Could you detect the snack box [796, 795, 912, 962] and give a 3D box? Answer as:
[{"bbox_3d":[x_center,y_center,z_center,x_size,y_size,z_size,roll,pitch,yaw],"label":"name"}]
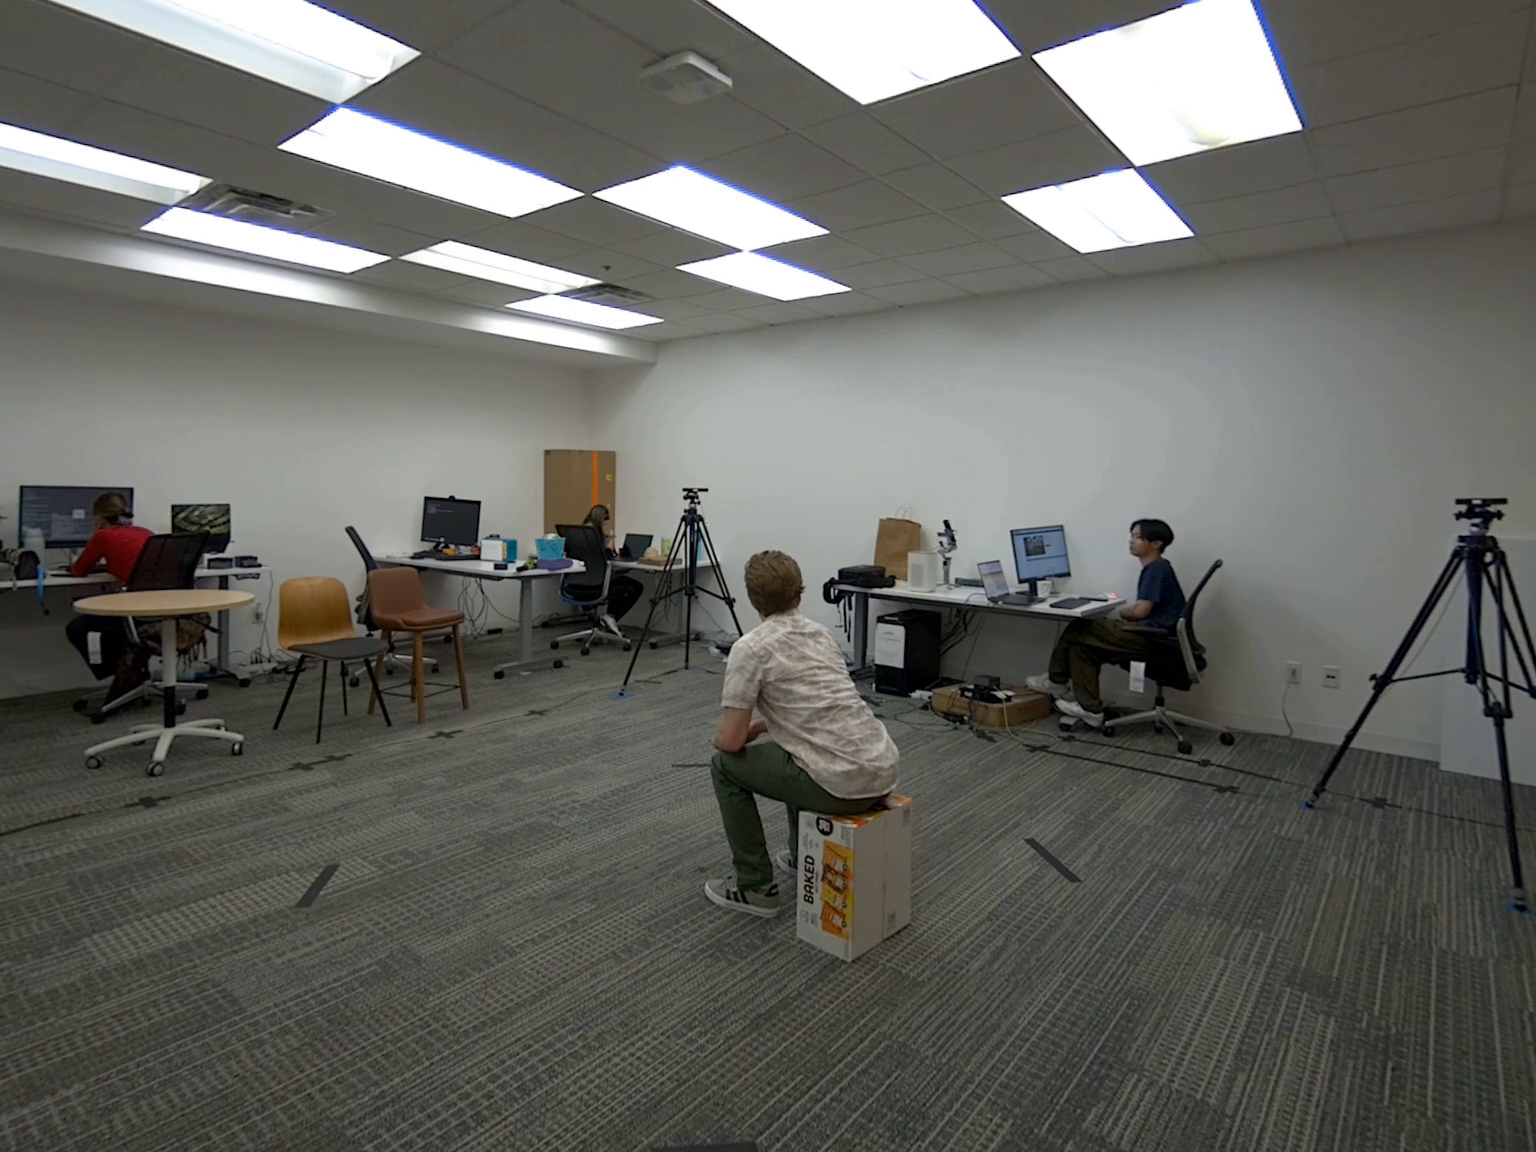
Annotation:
[{"bbox_3d":[0.276,0.922,2.689,0.212,0.404,0.330,2,3,42],"label":"snack box"}]
